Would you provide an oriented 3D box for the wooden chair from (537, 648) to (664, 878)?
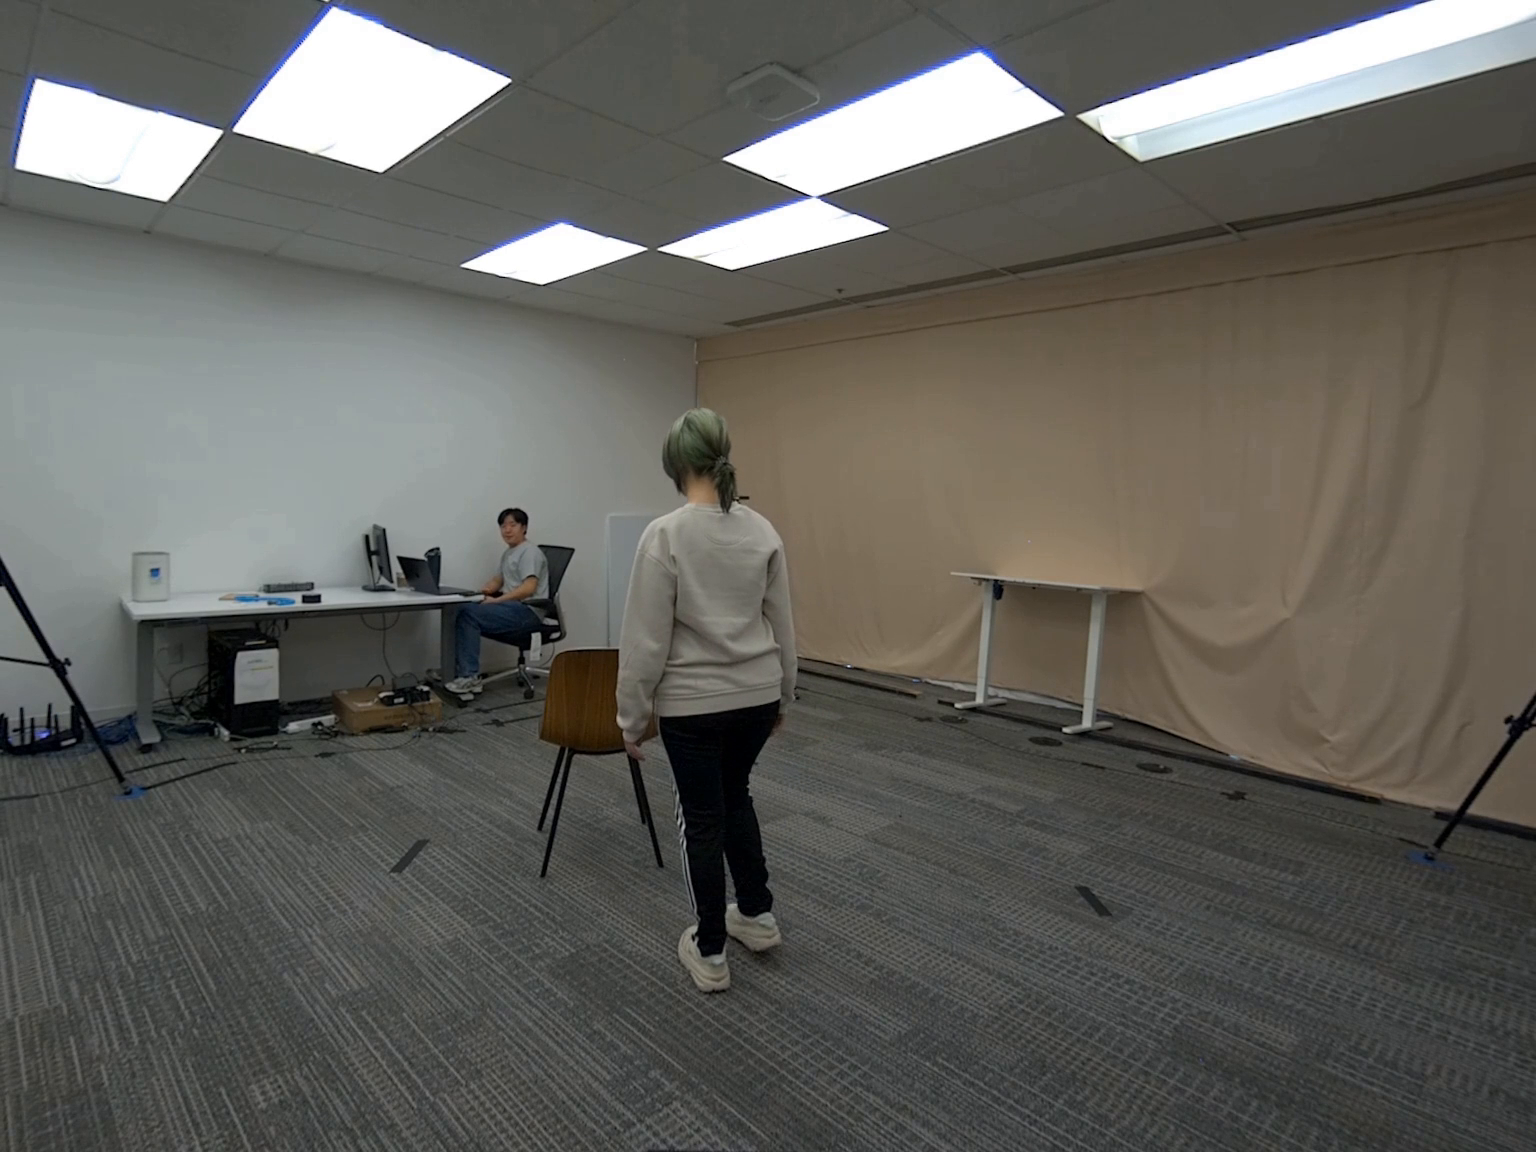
[{"bbox_3d":[-0.665,0.651,3.293,0.472,0.873,0.532,0,8,-16],"label":"wooden chair"}]
